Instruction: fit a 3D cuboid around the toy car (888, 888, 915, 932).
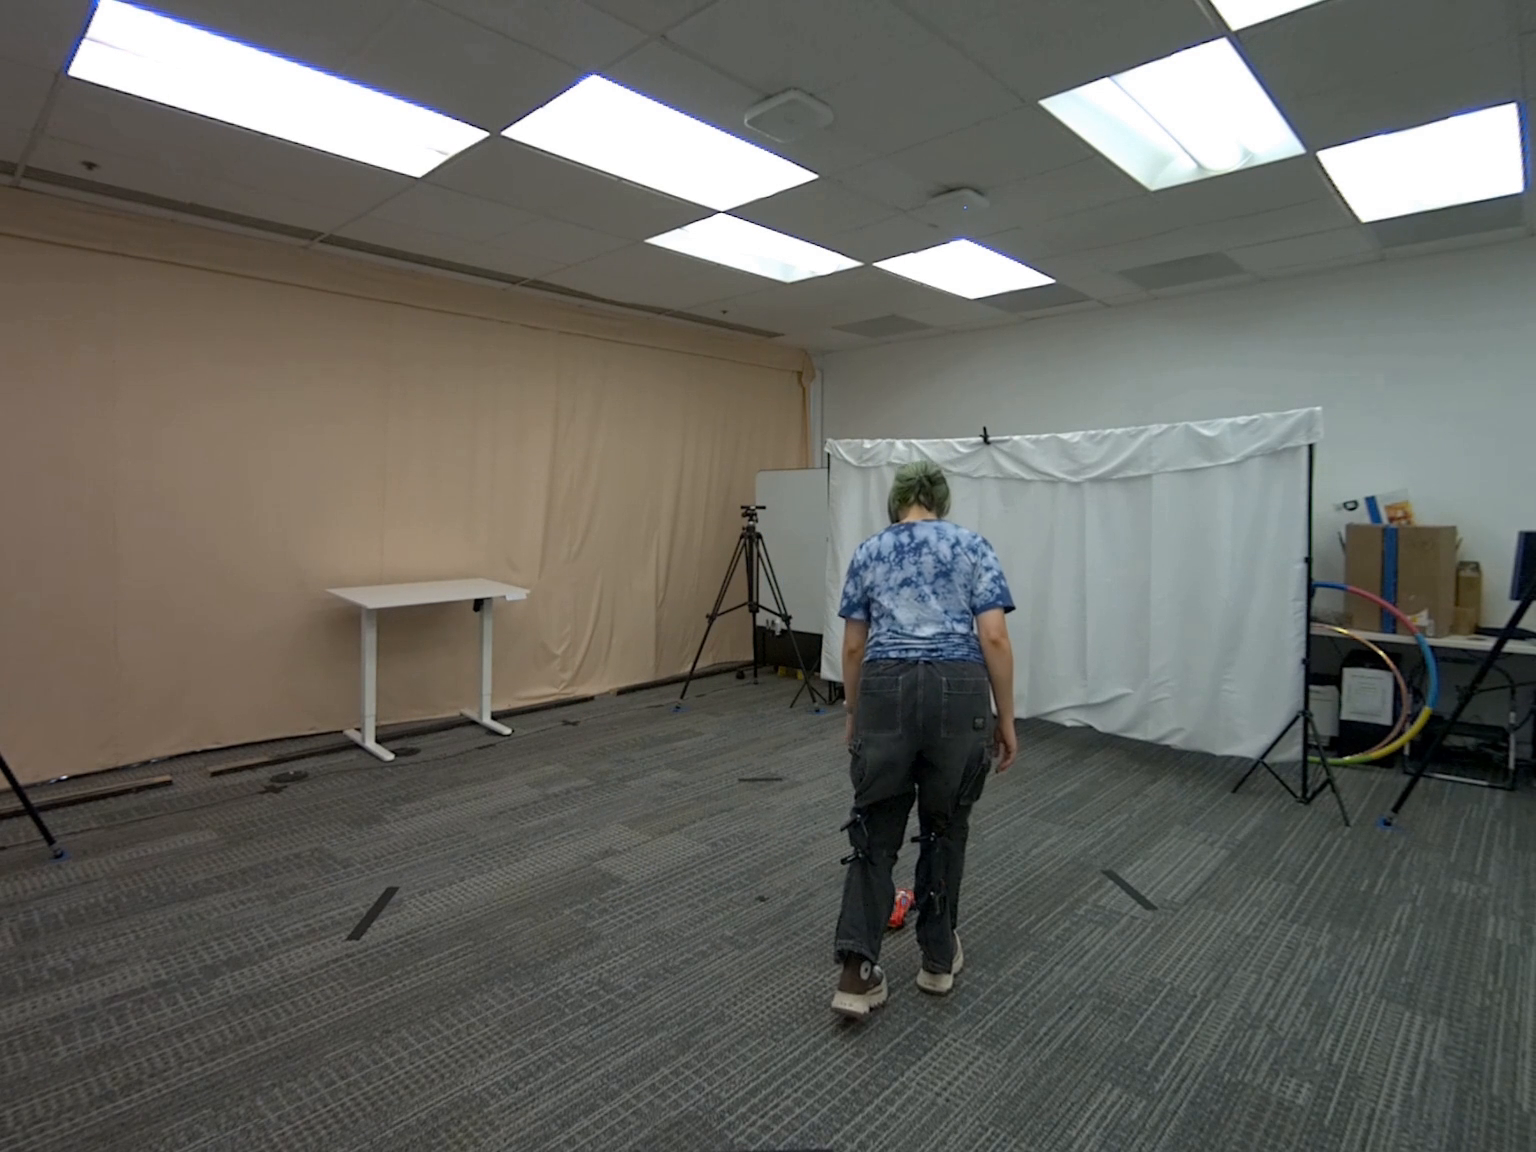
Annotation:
[{"bbox_3d":[0.421,1.121,2.837,0.133,0.083,0.247,3,-6,23],"label":"toy car"}]
